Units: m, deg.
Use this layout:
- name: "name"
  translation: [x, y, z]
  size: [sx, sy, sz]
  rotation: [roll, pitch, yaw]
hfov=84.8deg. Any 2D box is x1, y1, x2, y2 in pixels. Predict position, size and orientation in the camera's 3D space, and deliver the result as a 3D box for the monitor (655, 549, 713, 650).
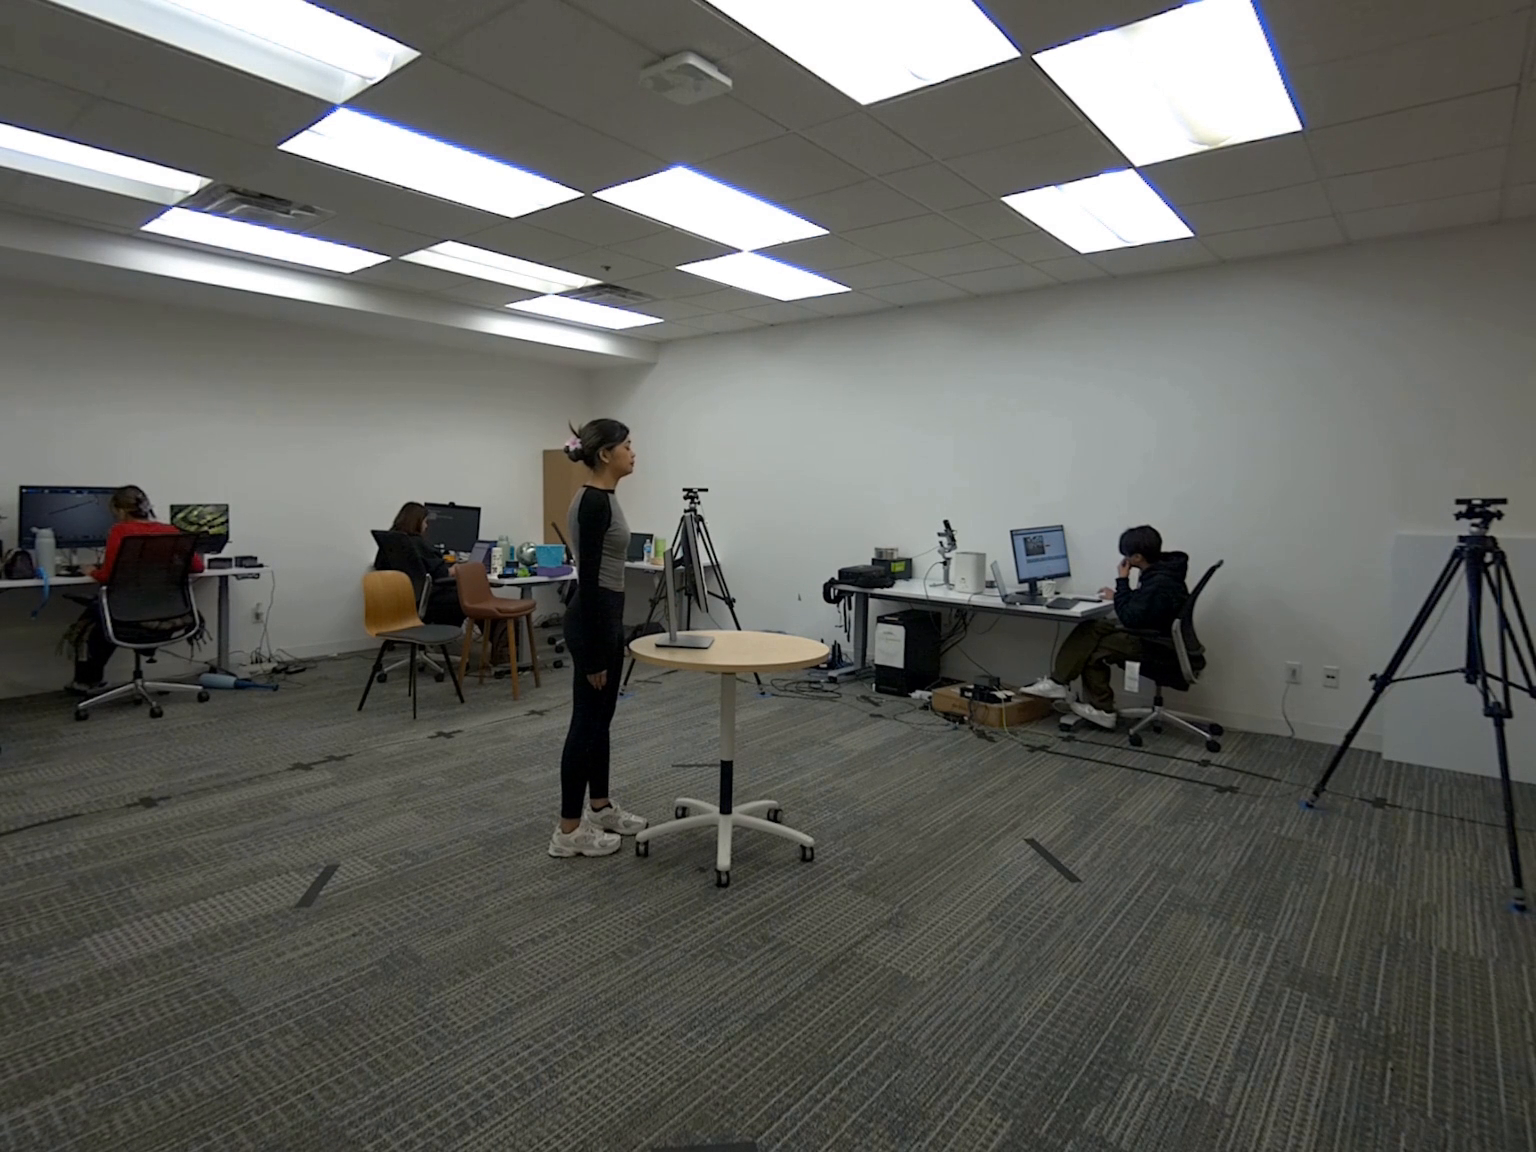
- name: "monitor"
  translation: [-0.330, 0.013, 3.292]
  size: [0.186, 0.521, 0.543]
  rotation: [2, 3, -6]
